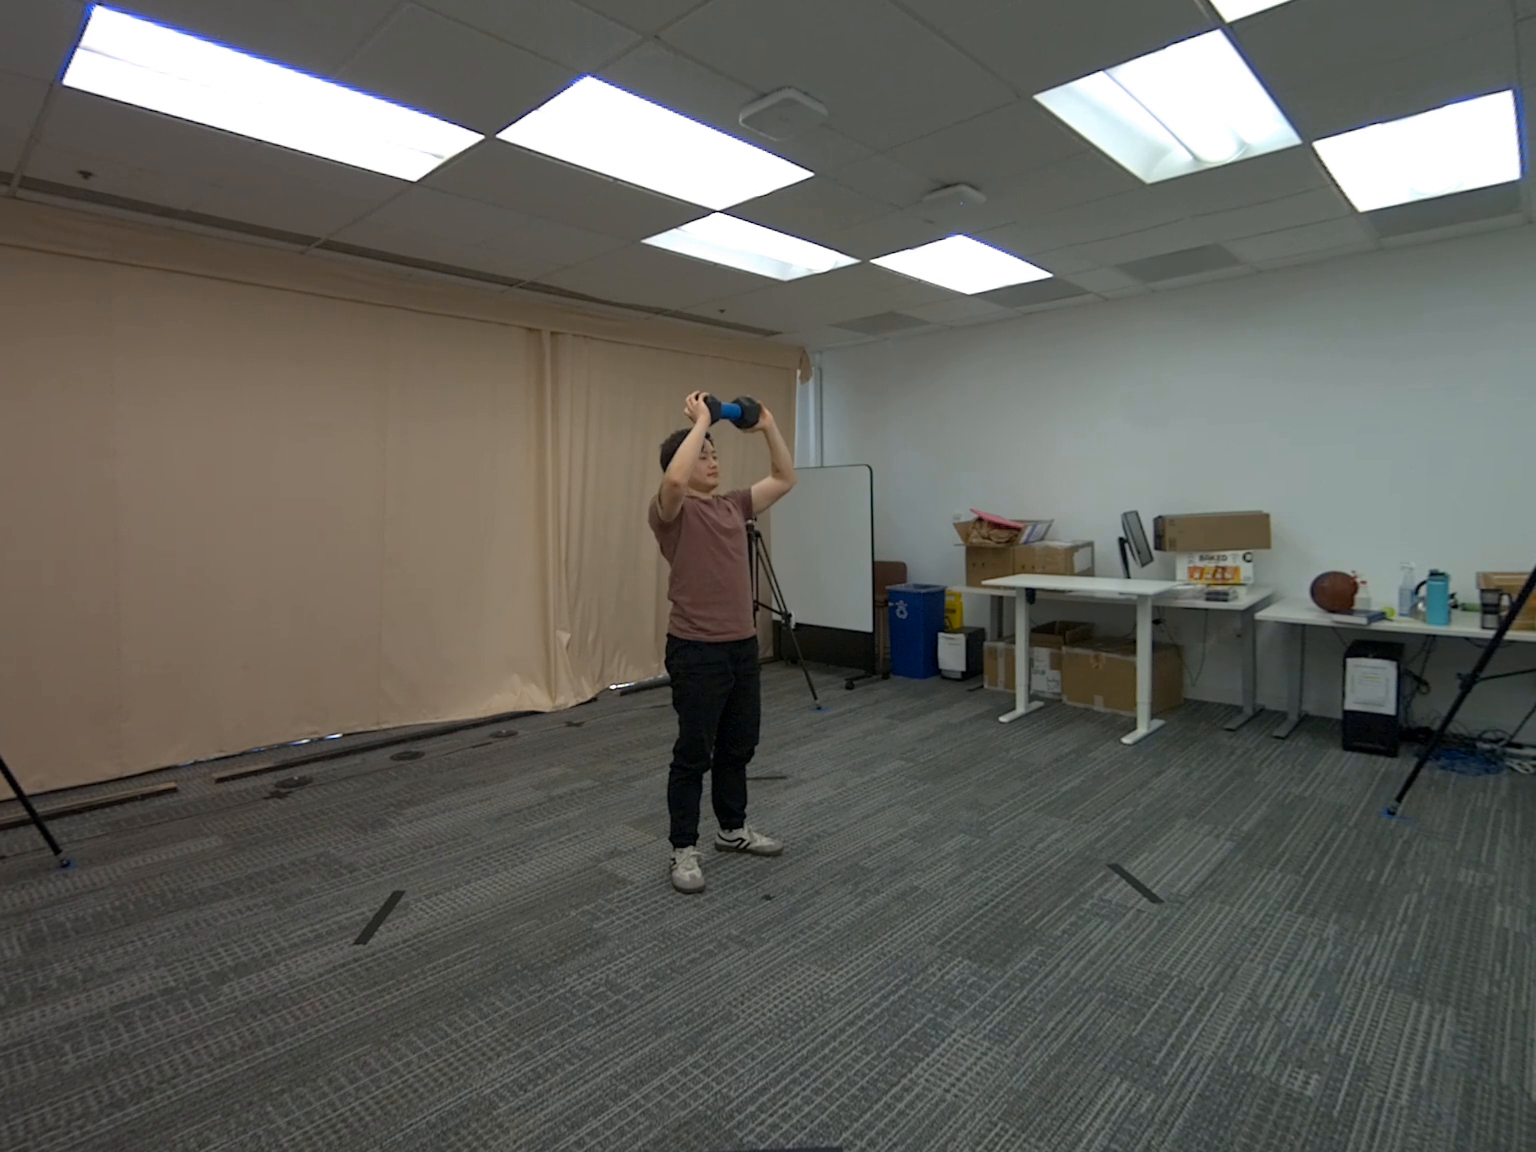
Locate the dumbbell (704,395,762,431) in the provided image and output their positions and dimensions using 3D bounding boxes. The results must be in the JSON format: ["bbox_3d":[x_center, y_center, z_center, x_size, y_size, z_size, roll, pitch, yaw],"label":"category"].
[{"bbox_3d":[-0.155,-0.613,3.121,0.285,0.108,0.127,-8,46,-47],"label":"dumbbell"}]
